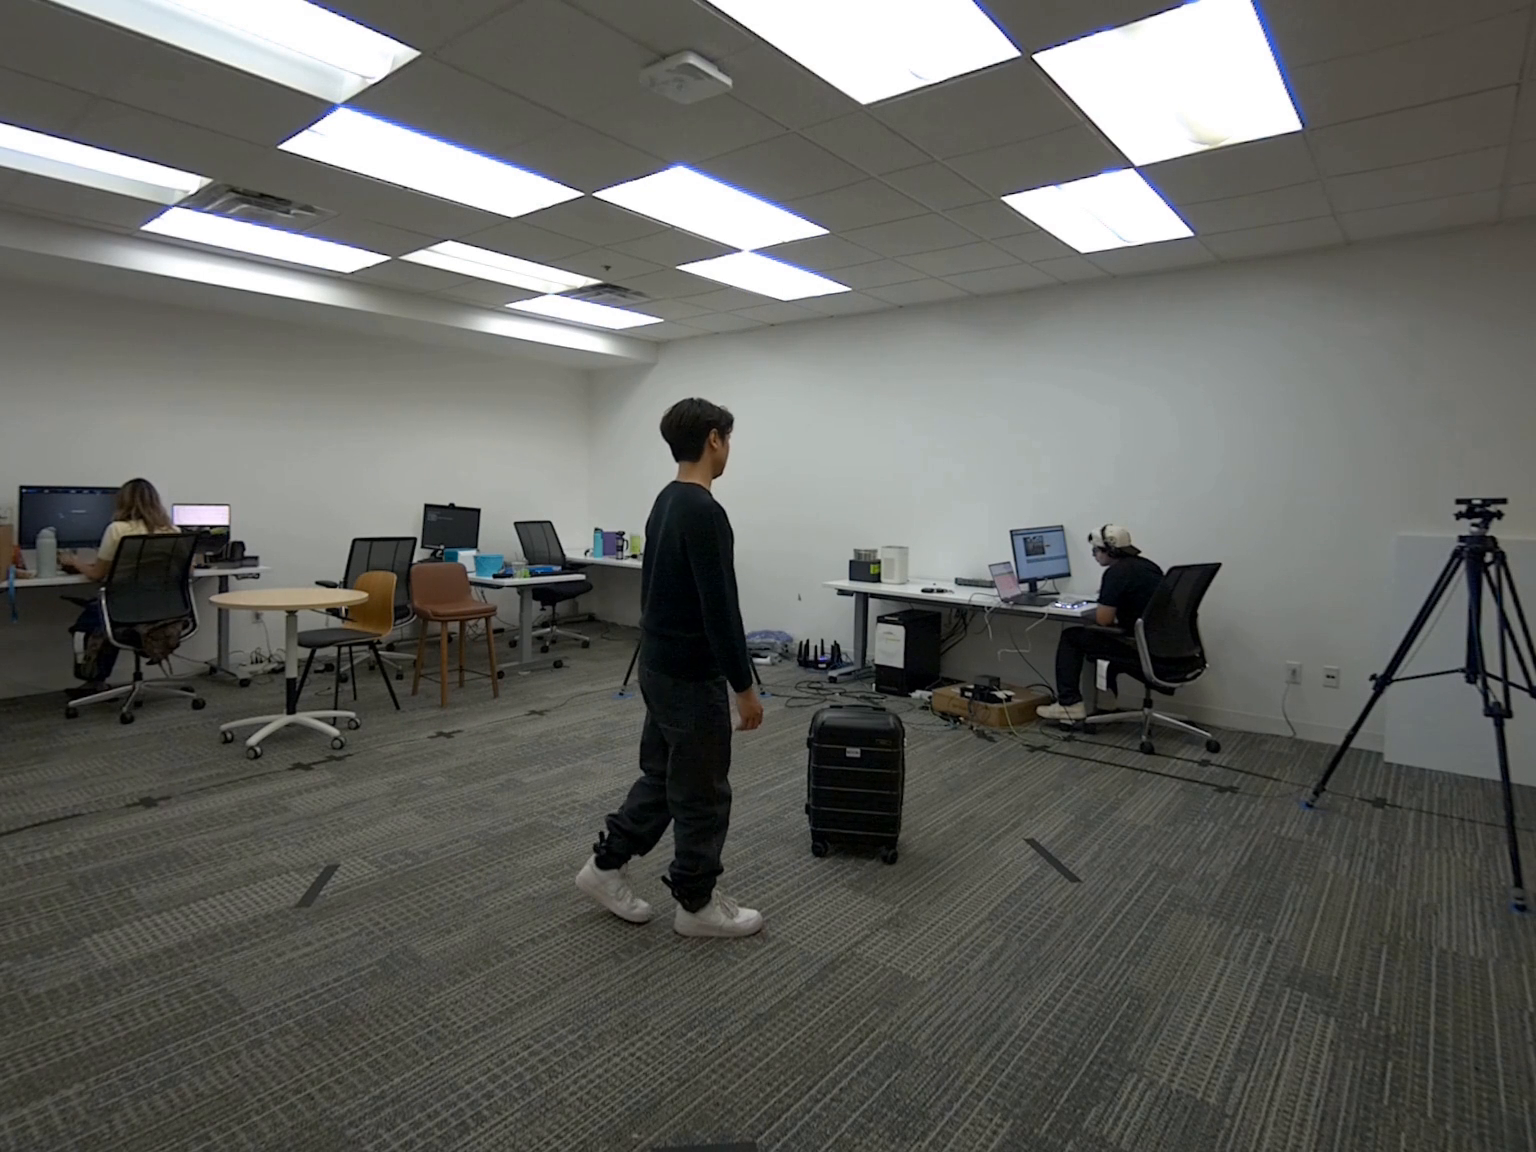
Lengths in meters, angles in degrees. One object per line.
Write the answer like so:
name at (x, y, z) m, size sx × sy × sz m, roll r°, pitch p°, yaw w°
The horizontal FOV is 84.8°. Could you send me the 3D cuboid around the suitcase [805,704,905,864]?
suitcase at (0.343, 0.782, 3.337) m, size 0.379 × 0.547 × 0.247 m, roll 2°, pitch 4°, yaw 8°
